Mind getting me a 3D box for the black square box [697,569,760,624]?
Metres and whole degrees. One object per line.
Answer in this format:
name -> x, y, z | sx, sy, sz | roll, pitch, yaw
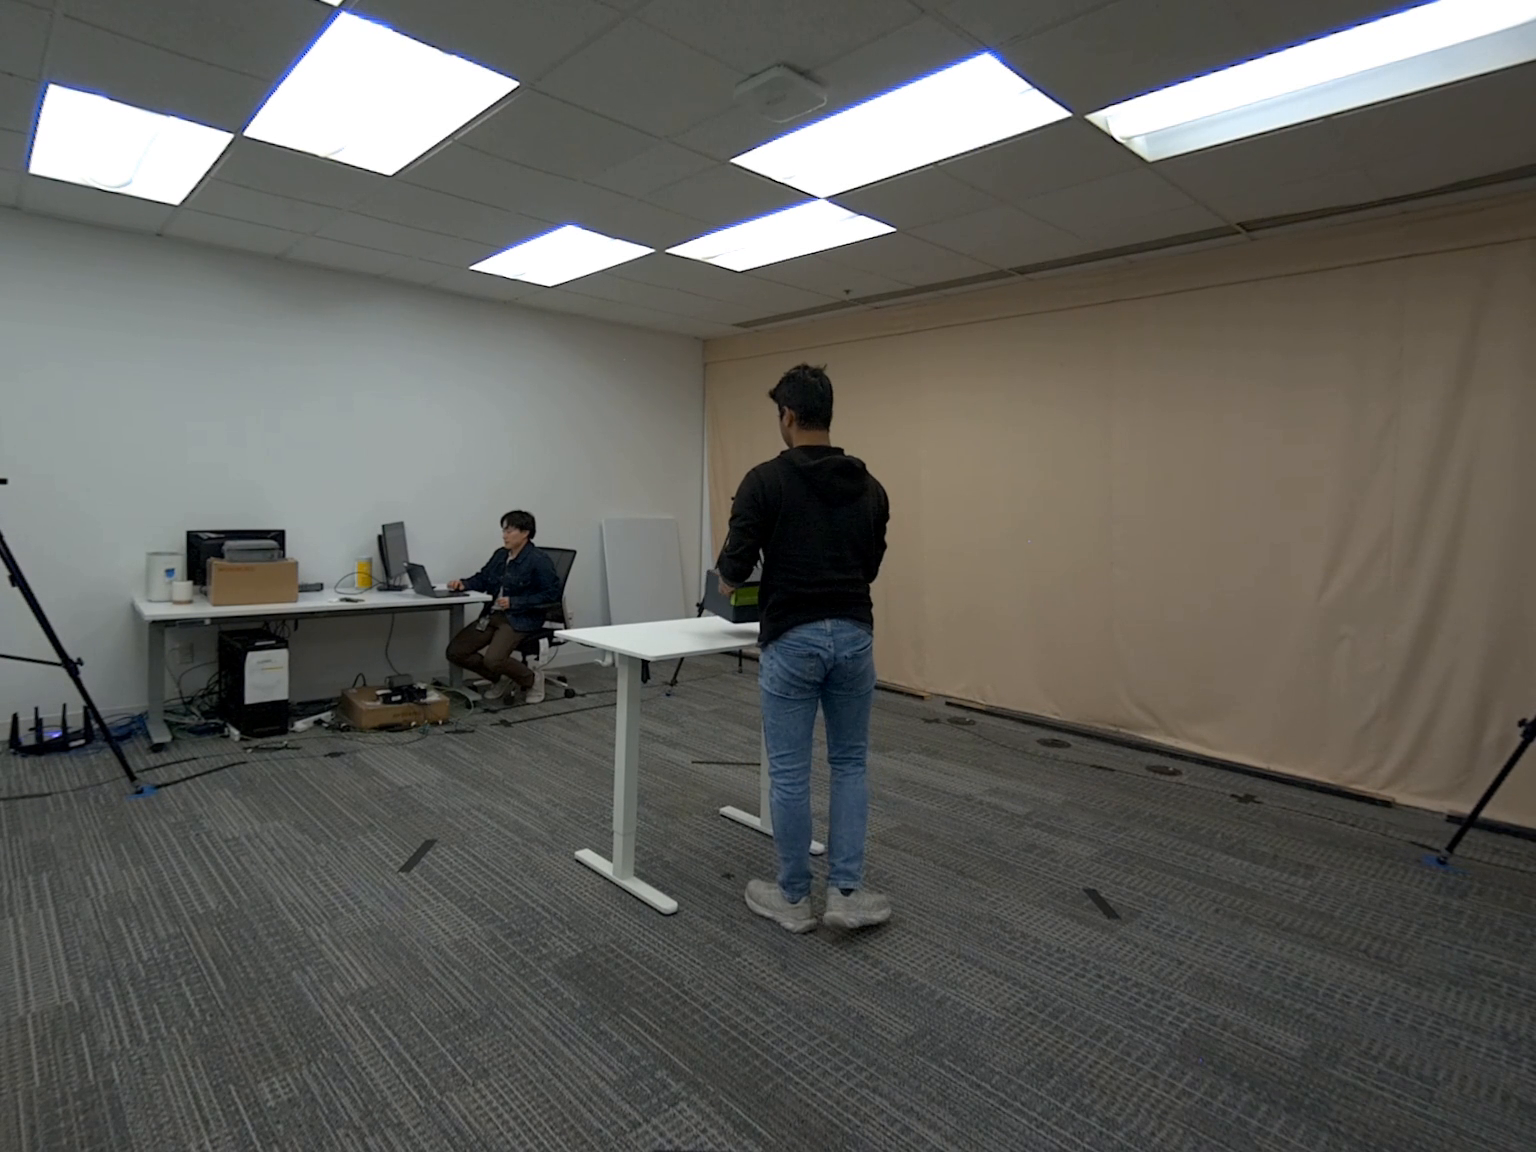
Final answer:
black square box -> -0.077, 0.075, 3.156 | 0.223, 0.155, 0.223 | -4, 14, -34
